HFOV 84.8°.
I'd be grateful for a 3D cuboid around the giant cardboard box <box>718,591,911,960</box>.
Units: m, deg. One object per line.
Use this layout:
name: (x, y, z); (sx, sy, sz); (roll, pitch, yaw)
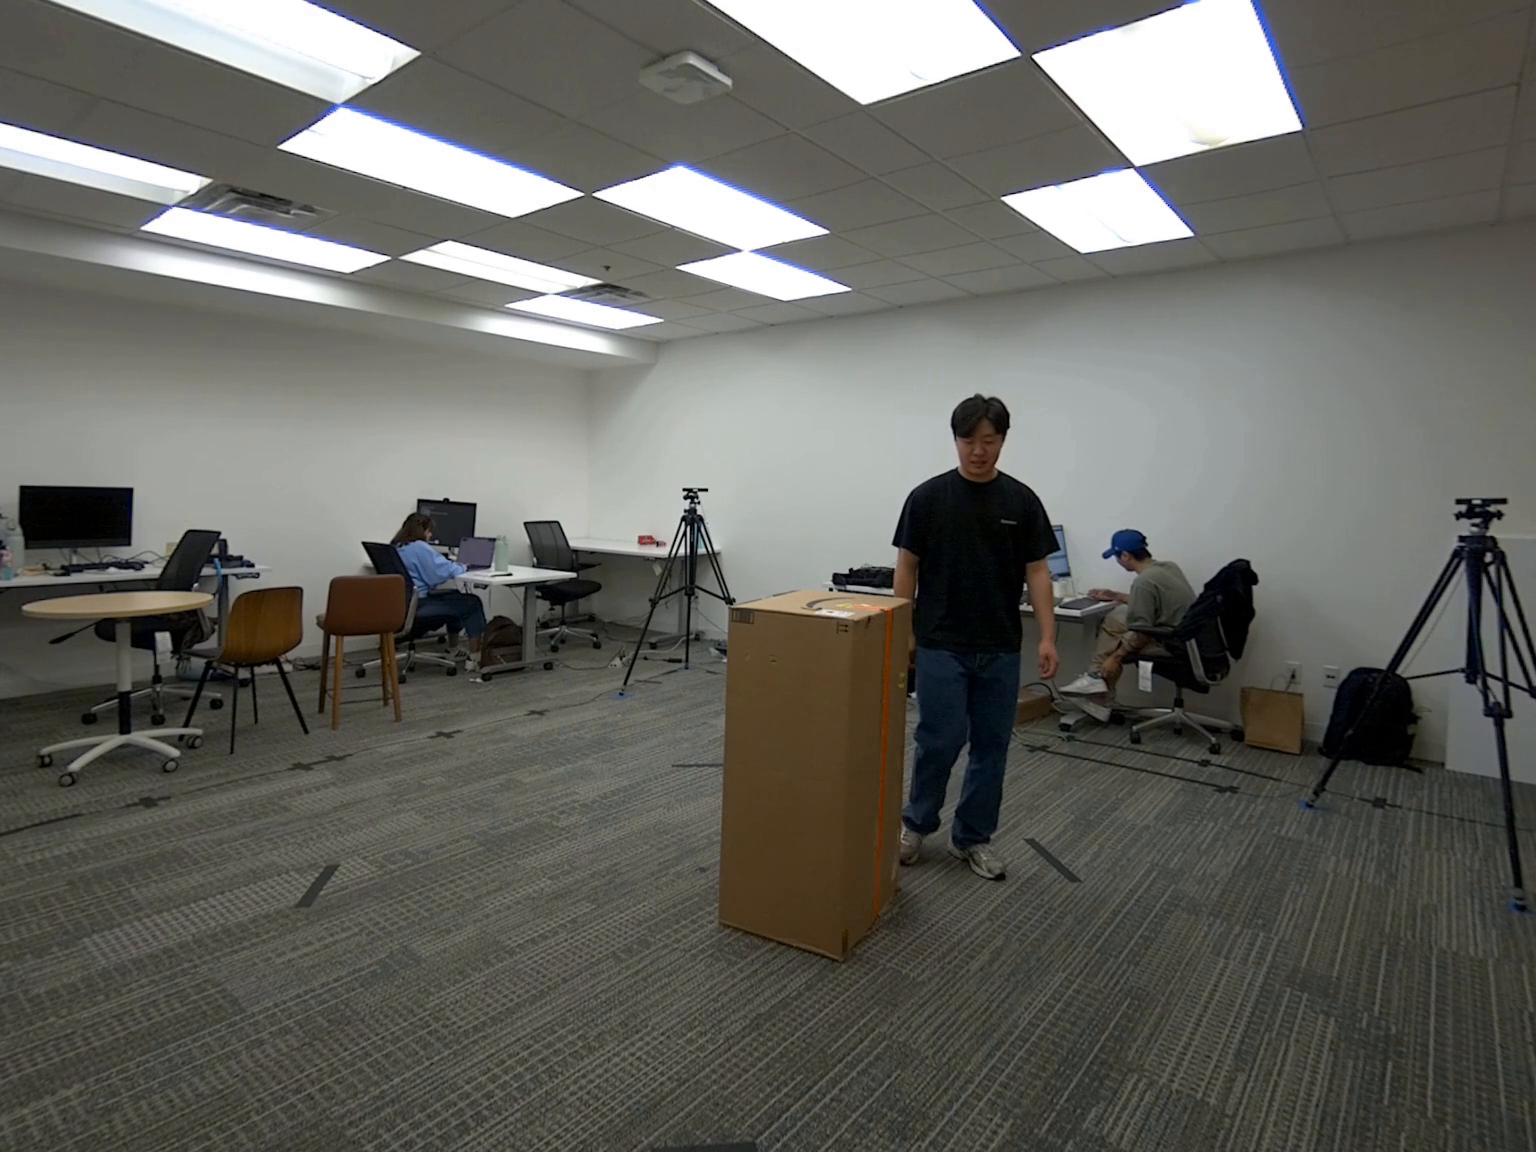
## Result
giant cardboard box: (0.163, 0.590, 2.833); (0.460, 1.024, 0.569); (4, 4, 28)
